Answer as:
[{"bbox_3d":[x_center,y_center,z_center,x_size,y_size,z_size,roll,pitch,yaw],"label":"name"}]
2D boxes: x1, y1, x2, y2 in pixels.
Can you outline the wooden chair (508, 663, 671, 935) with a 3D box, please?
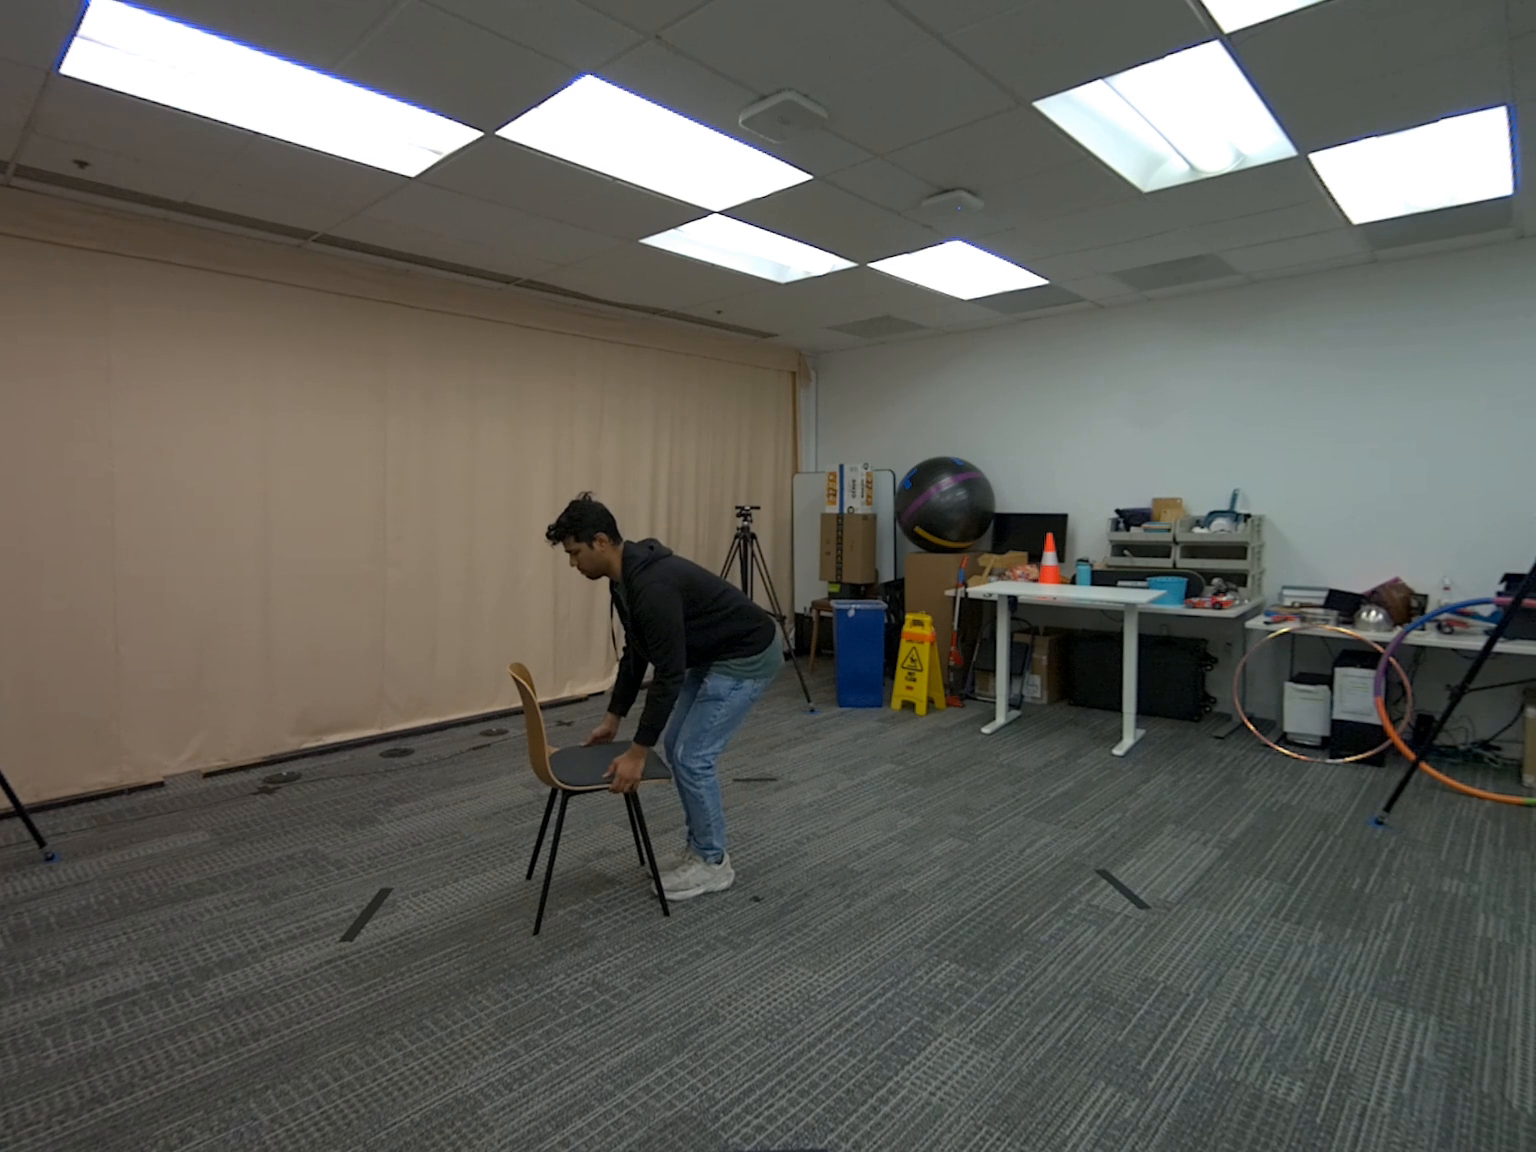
[{"bbox_3d":[-0.621,0.722,2.982,0.514,0.875,0.487,-6,4,-18],"label":"wooden chair"}]
